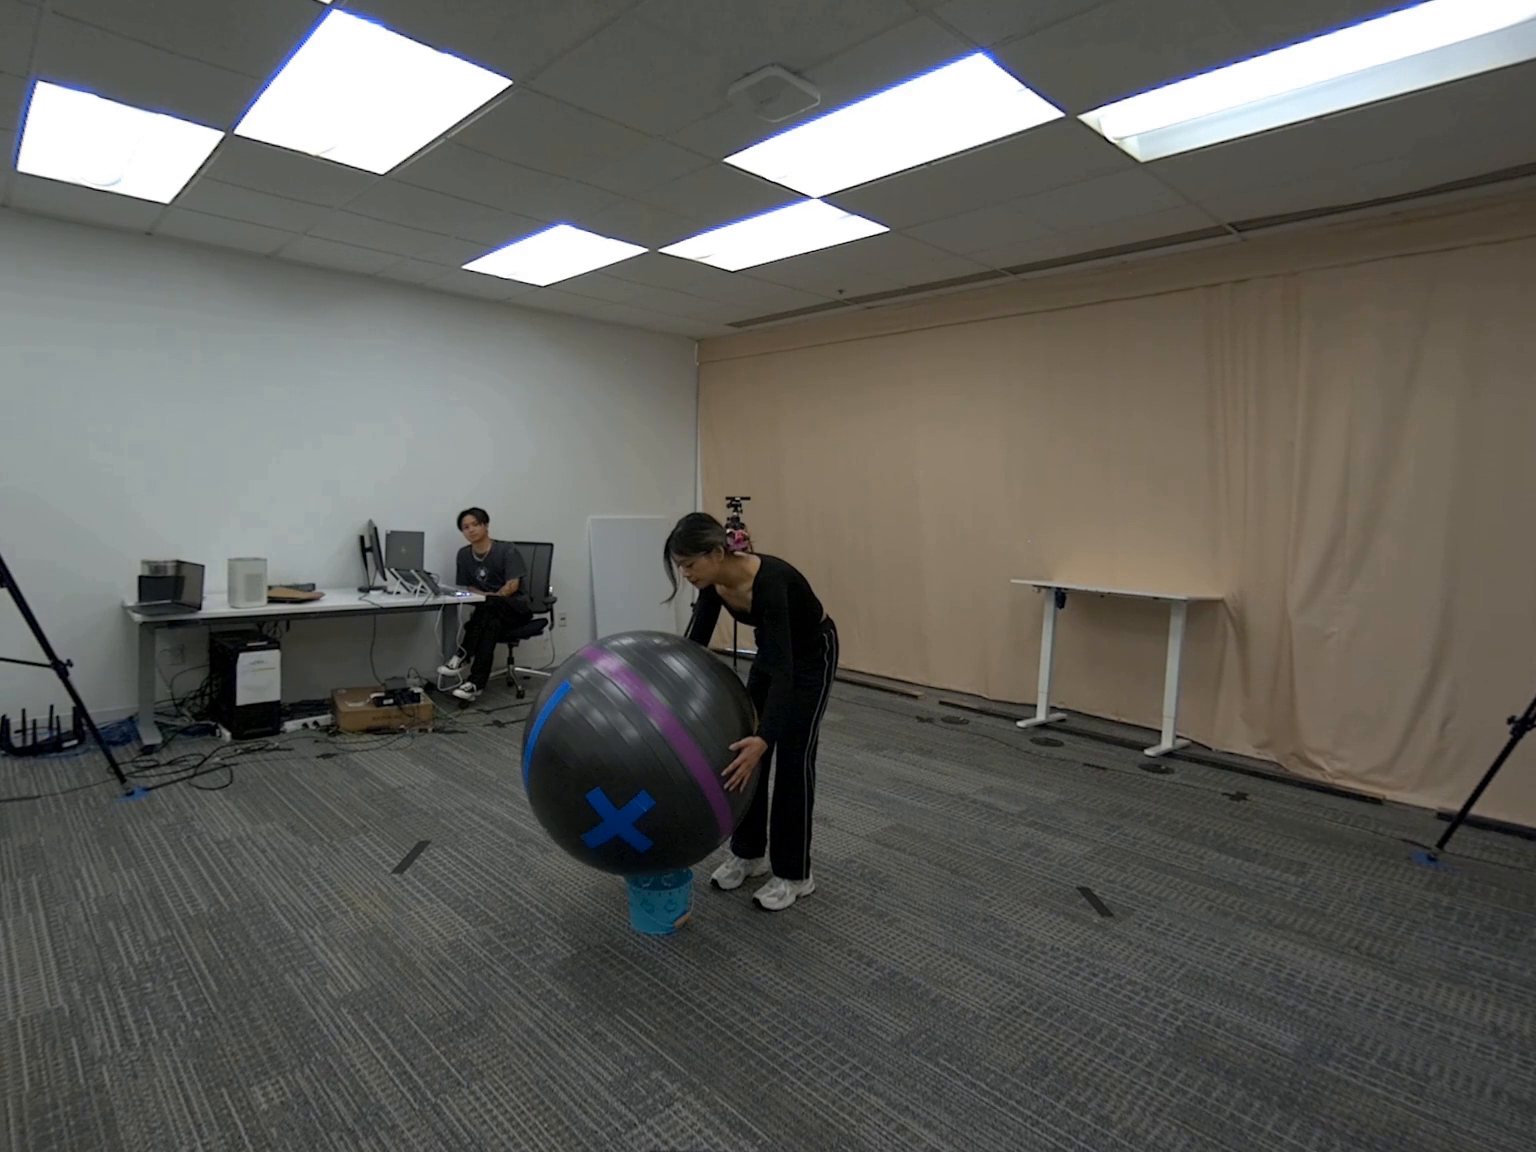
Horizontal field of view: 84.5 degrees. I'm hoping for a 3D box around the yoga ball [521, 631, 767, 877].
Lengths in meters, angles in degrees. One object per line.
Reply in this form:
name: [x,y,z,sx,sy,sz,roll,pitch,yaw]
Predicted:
yoga ball: [-0.403,0.560,2.669,0.757,0.756,0.761,1,4,-1]
